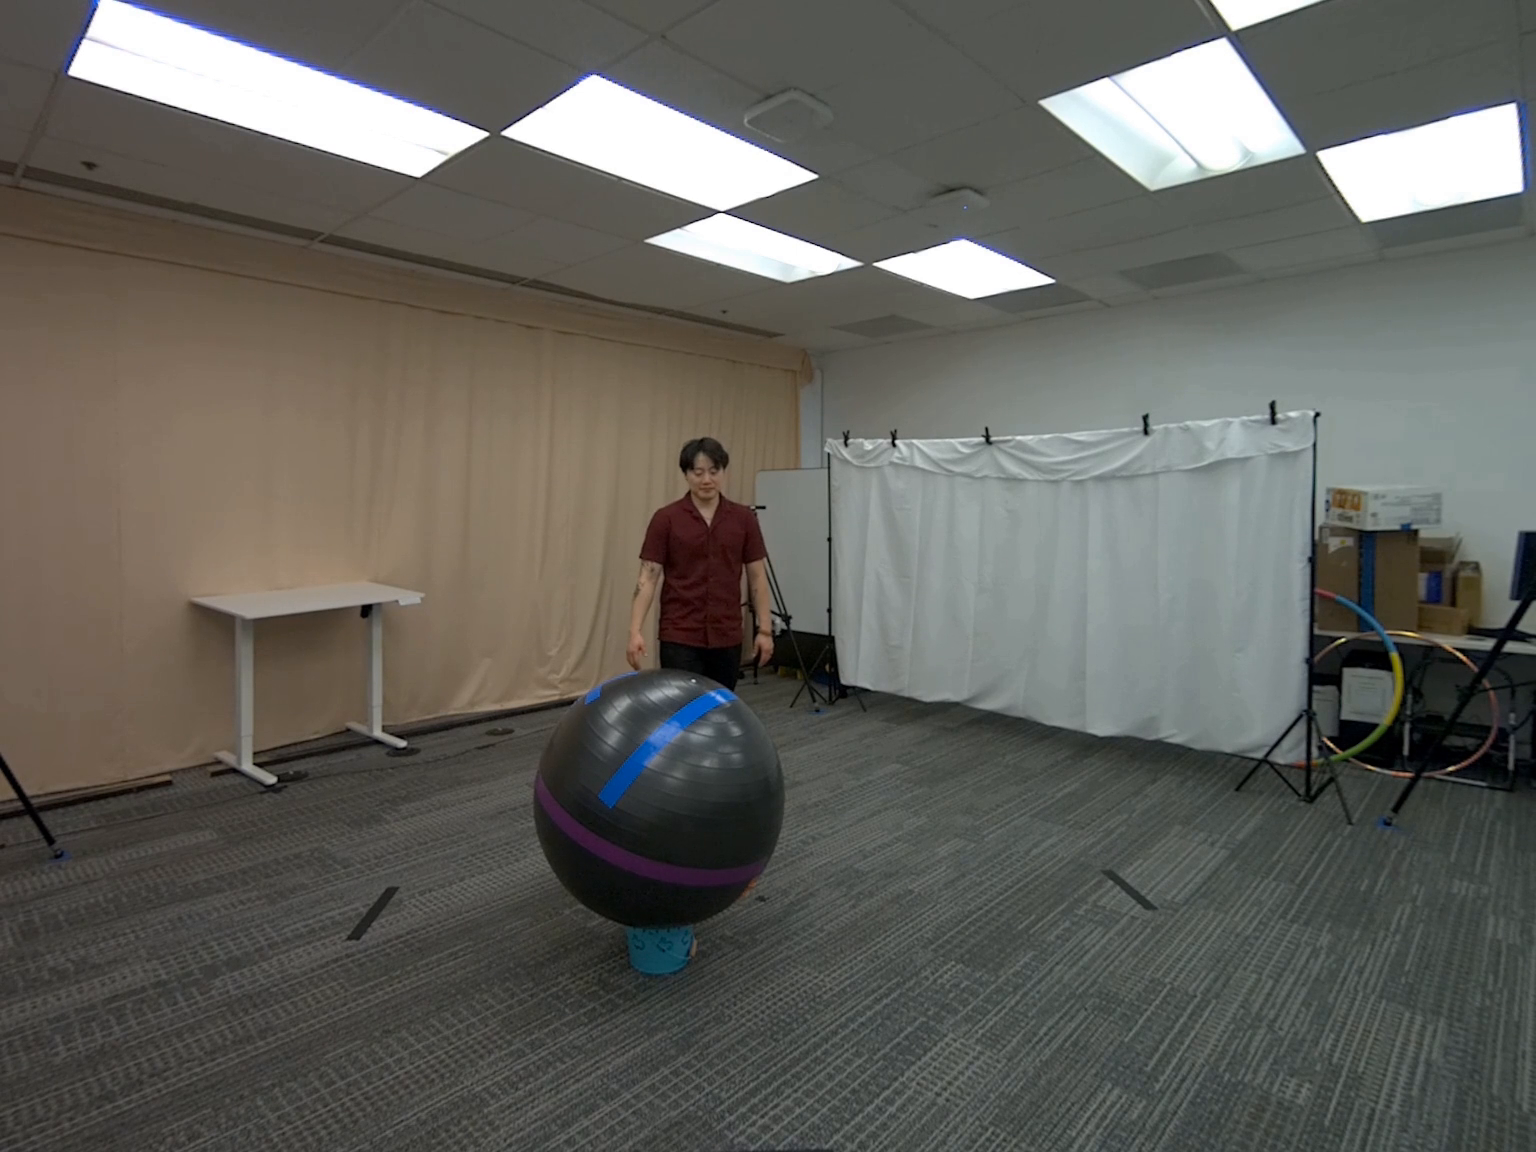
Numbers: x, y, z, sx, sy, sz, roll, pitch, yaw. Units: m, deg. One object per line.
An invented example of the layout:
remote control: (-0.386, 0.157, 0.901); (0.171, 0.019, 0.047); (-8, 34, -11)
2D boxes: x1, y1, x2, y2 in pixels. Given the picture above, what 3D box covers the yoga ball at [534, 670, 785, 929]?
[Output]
yoga ball: (-0.328, 0.667, 2.575); (0.757, 0.756, 0.760); (0, 4, -2)
